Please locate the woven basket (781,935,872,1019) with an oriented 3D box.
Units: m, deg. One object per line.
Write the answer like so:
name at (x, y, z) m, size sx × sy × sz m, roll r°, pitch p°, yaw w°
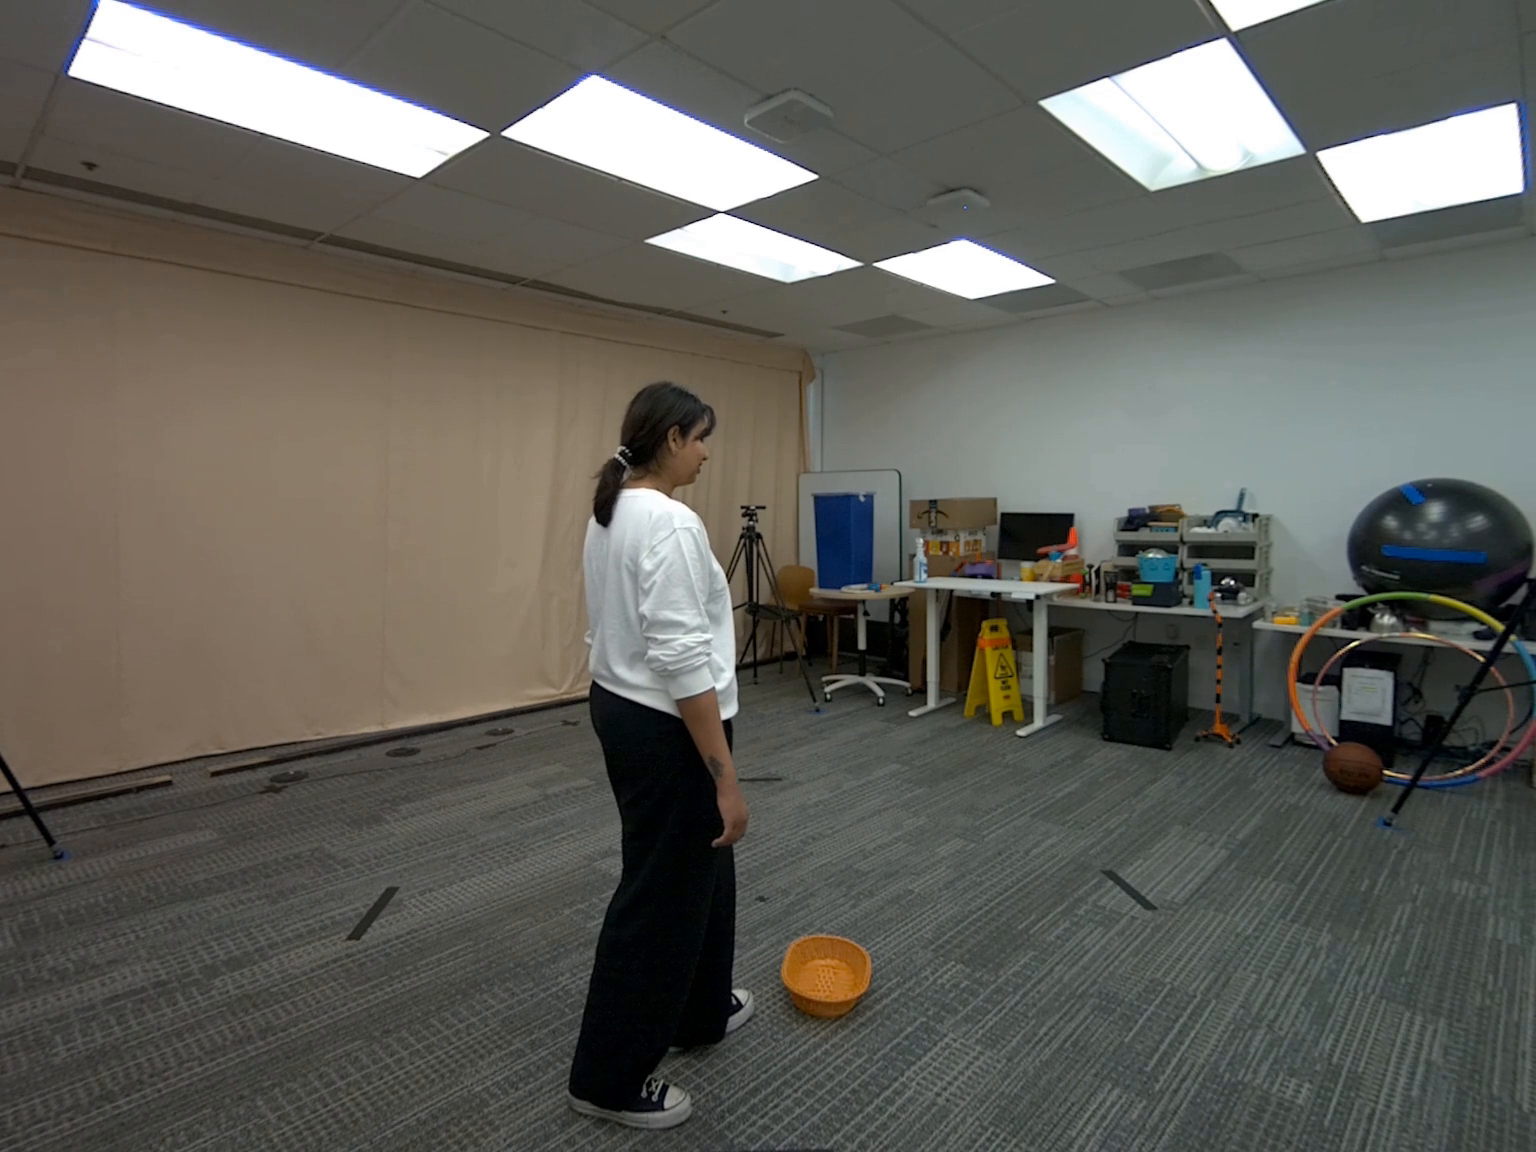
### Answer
woven basket at (0.175, 1.152, 2.426) m, size 0.256 × 0.073 × 0.346 m, roll 2°, pitch 5°, yaw 14°
